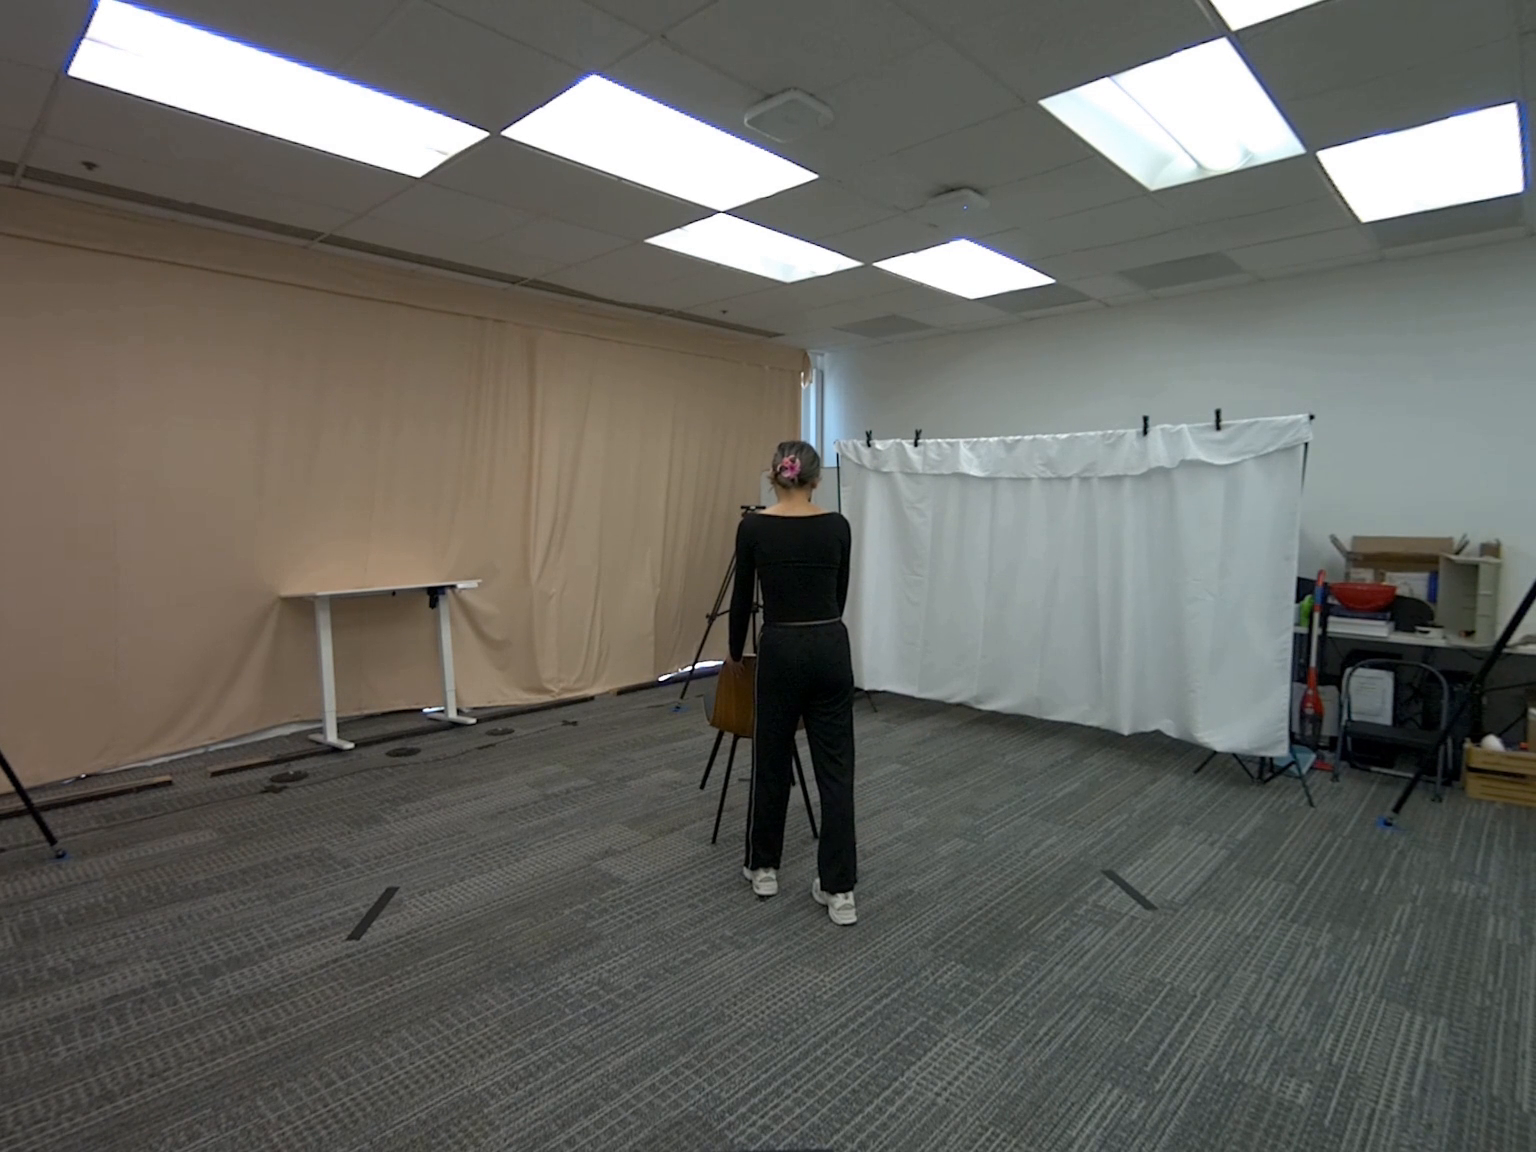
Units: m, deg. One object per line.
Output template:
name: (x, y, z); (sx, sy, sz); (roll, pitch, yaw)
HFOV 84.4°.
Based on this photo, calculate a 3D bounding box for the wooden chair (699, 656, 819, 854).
wooden chair: (-0.043, 0.627, 3.614); (0.473, 0.868, 0.534); (-1, 19, -10)
